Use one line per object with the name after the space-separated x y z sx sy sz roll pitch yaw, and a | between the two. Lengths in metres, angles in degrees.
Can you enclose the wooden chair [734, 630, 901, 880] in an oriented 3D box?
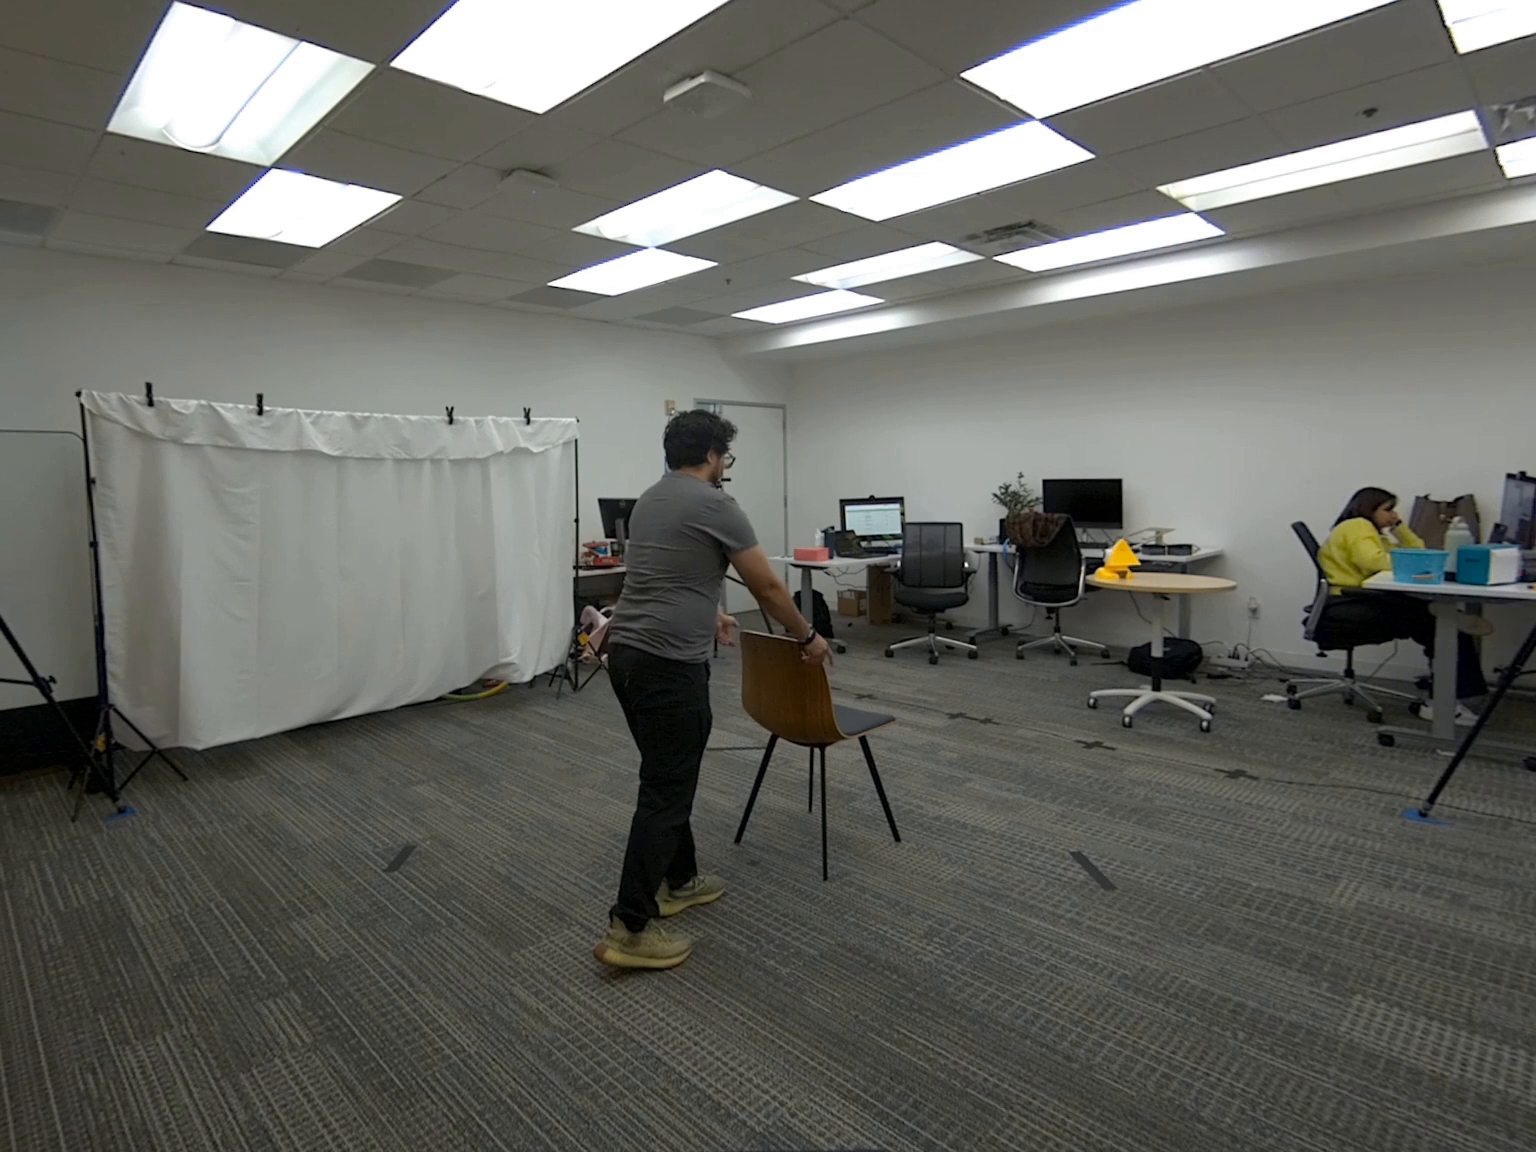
0.187 0.594 3.243 0.493 0.871 0.511 3 10 45 | wooden chair
